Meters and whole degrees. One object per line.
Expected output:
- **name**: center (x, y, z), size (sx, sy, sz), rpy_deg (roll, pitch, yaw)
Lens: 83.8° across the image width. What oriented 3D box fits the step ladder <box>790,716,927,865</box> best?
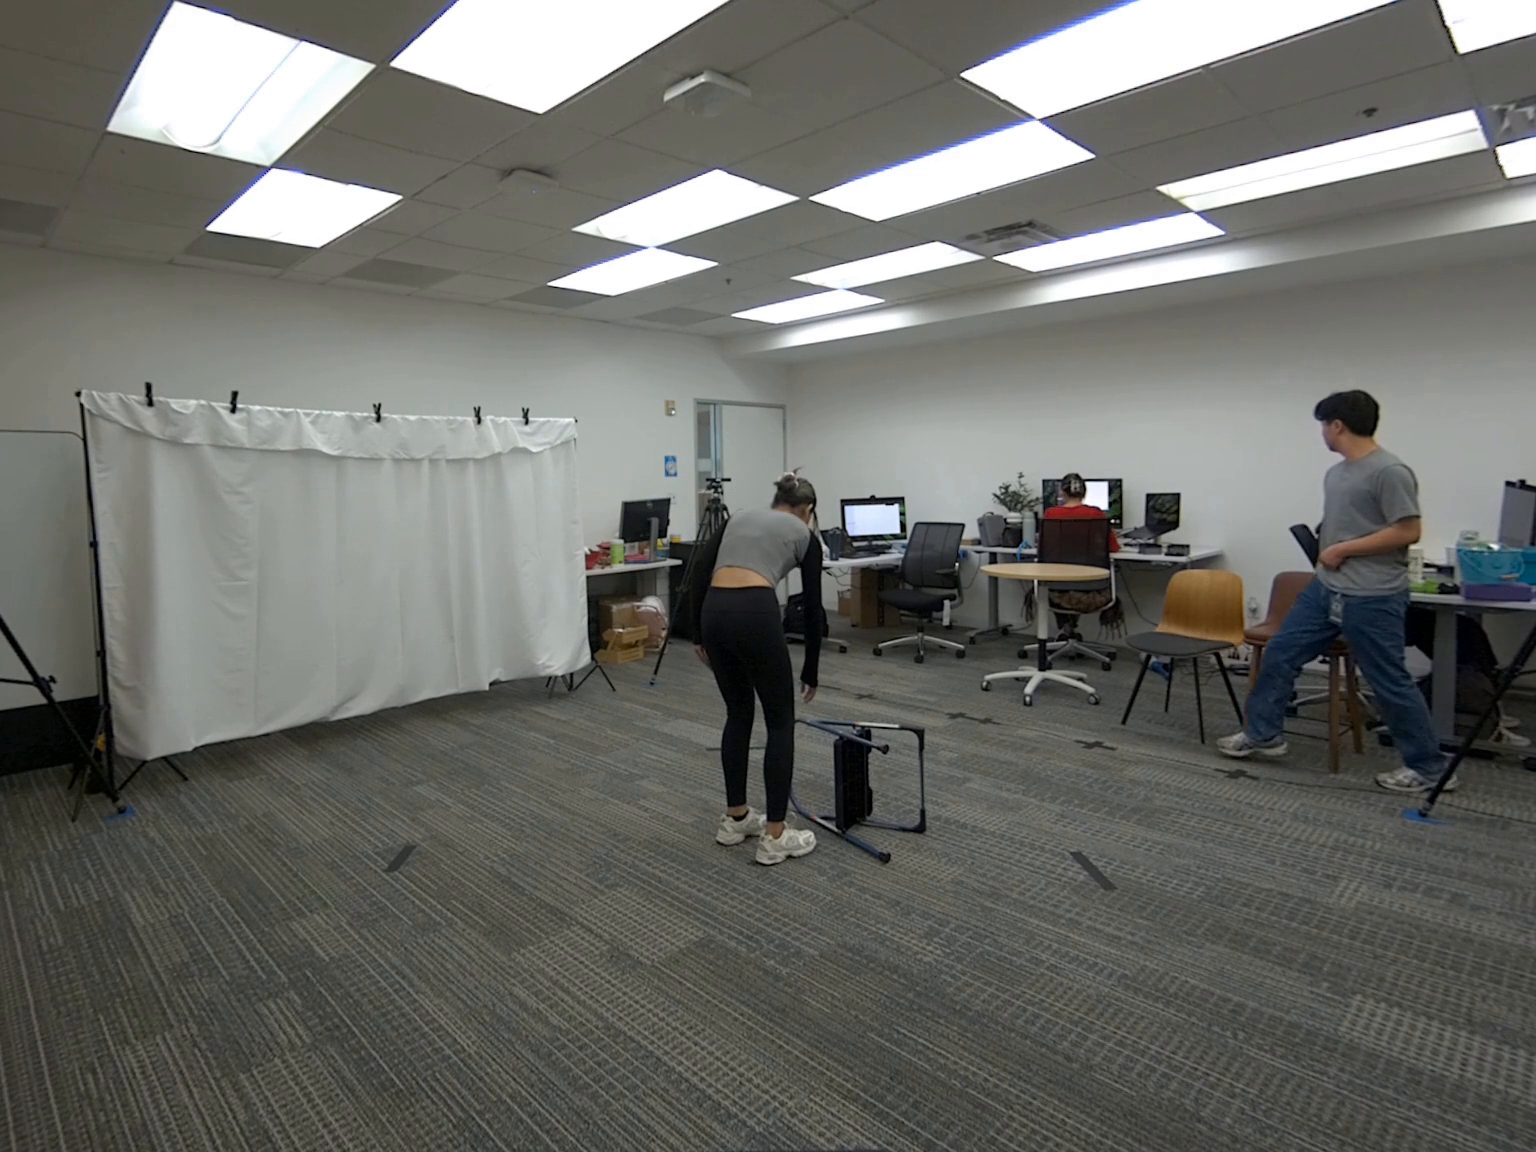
- **step ladder**: center (0.282, 0.797, 3.387), size (0.624, 0.429, 0.340), rpy_deg (2, 4, 38)
